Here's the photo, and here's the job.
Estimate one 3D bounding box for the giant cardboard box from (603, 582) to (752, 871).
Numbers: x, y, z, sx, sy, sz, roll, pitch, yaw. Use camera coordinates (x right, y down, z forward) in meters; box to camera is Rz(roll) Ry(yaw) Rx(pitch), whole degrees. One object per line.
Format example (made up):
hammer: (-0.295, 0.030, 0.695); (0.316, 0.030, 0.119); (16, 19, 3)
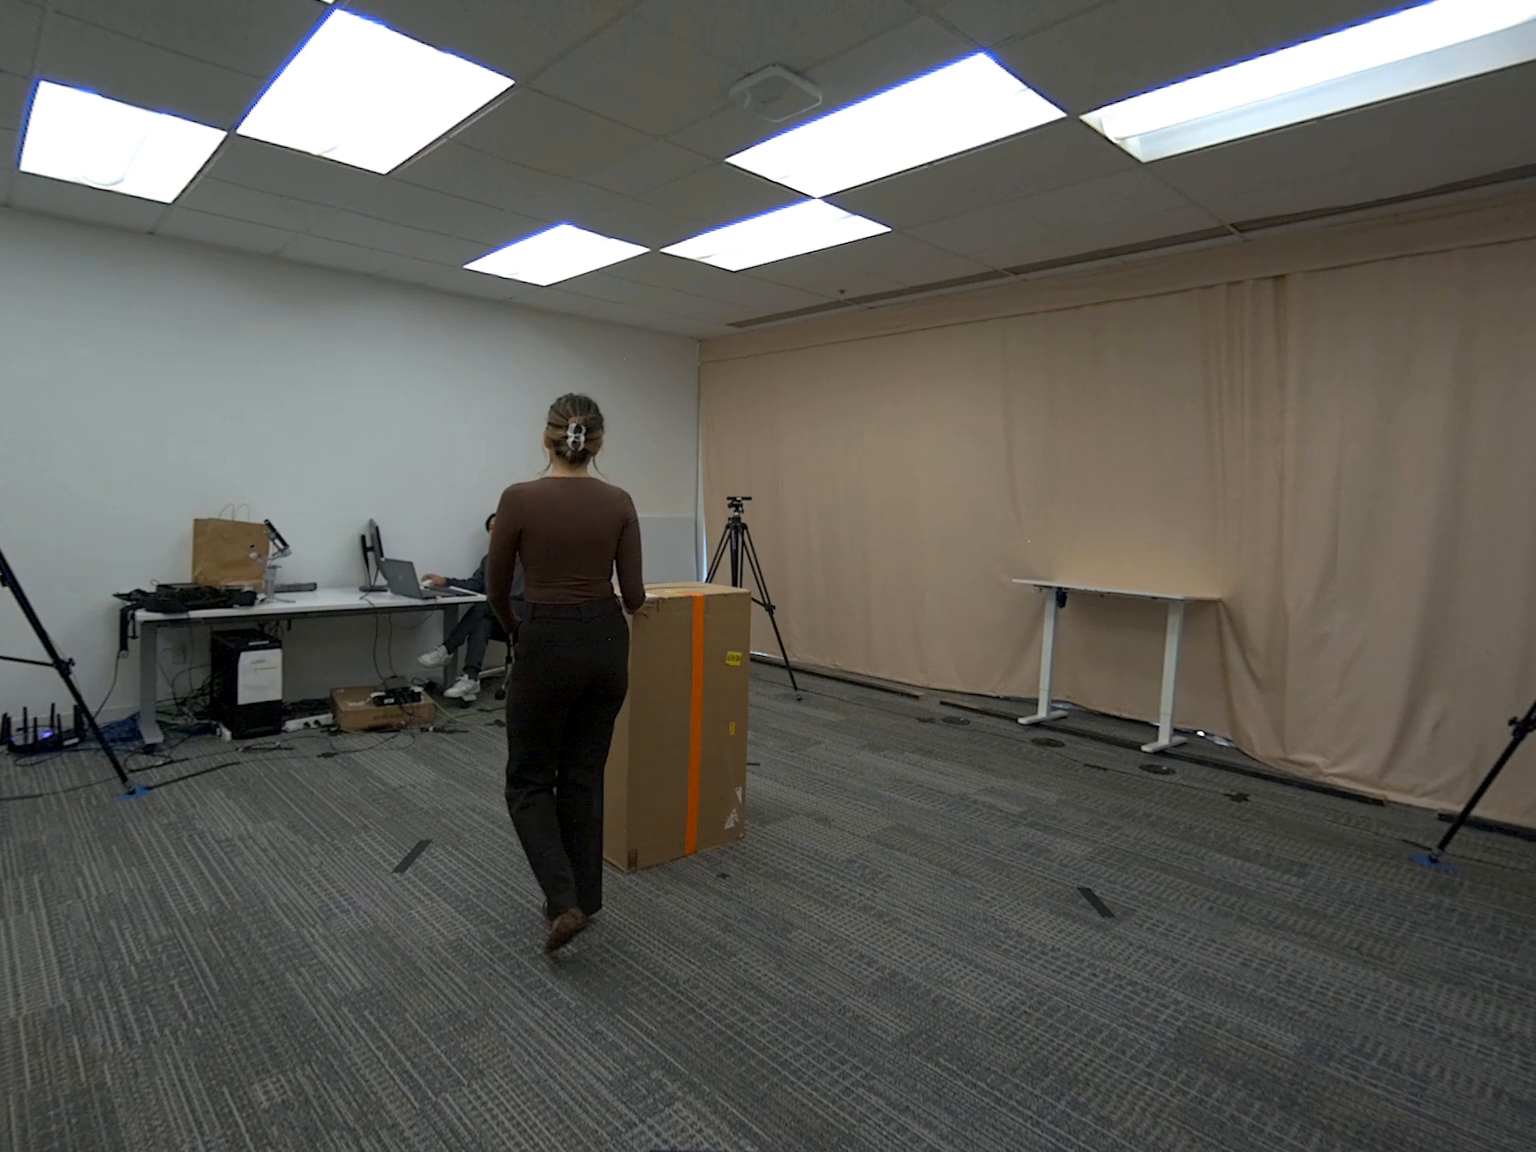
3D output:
giant cardboard box: (-0.437, 0.562, 3.414); (0.571, 1.024, 0.458); (-1, 5, -39)
